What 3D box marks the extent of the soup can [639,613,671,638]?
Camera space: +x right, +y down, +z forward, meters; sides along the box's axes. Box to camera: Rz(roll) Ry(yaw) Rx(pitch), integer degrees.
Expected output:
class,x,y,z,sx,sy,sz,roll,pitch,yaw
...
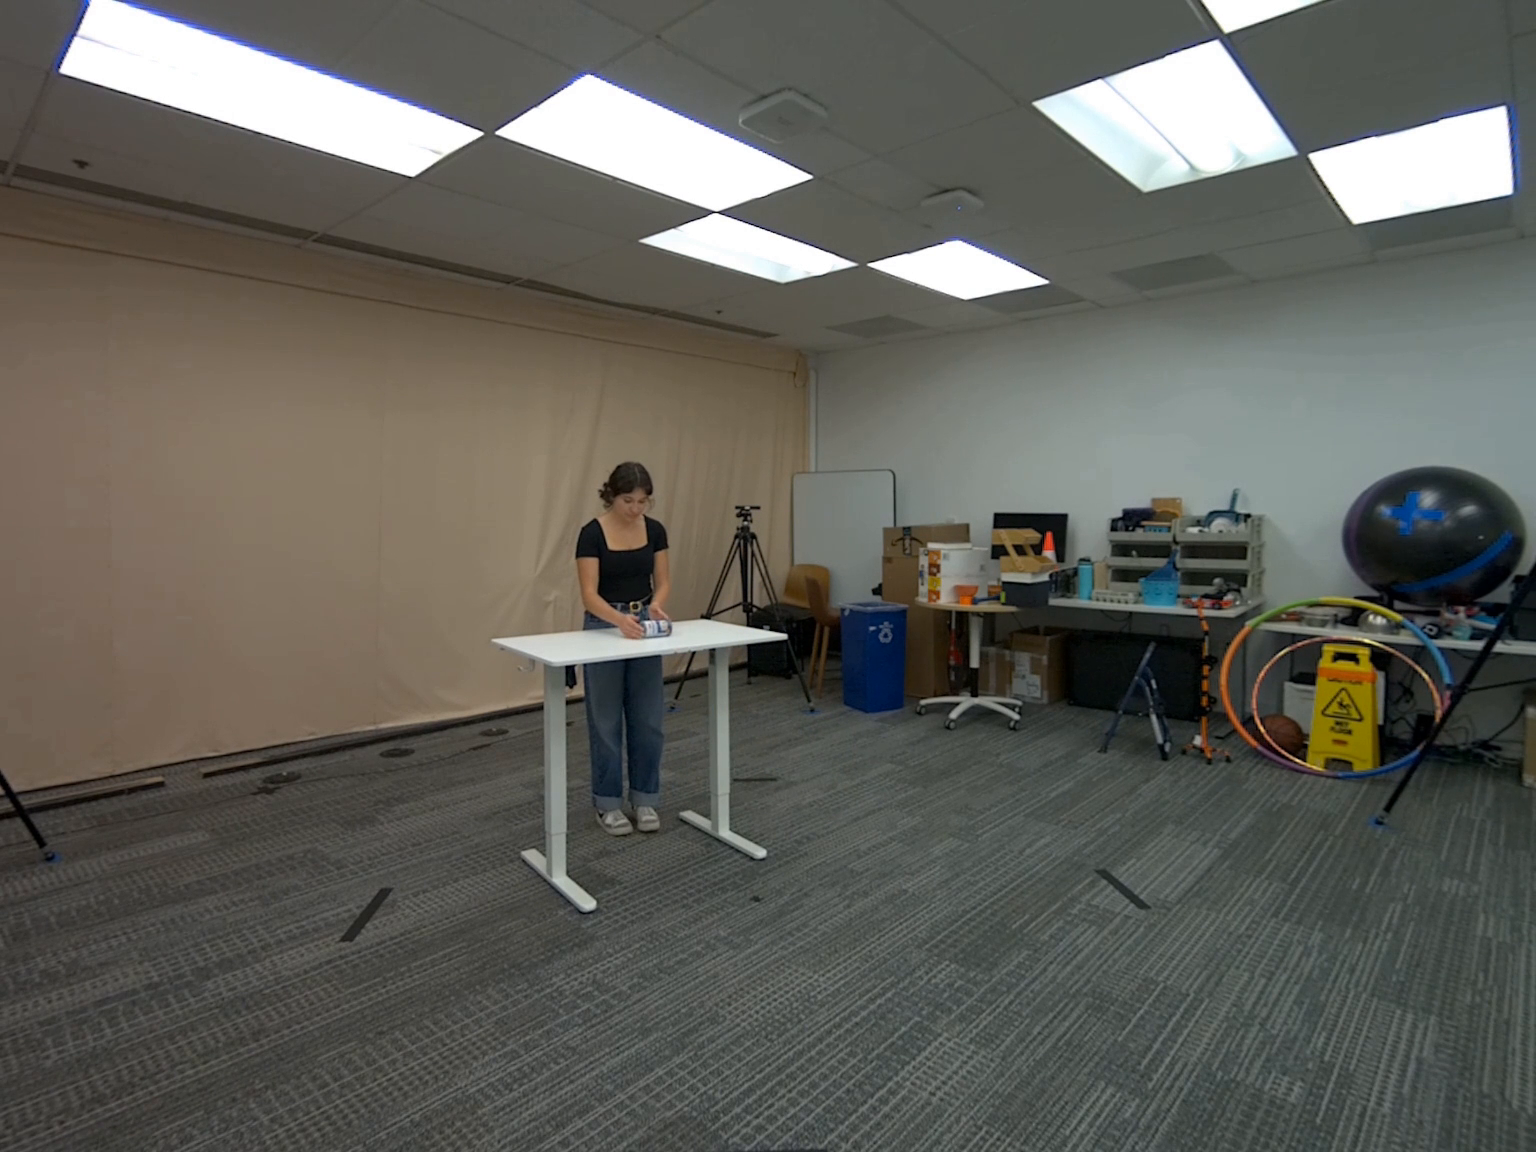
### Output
class,x,y,z,sx,sy,sz,roll,pitch,yaw
soup can,-0.440,0.204,3.317,0.118,0.067,0.069,-4,5,-33
